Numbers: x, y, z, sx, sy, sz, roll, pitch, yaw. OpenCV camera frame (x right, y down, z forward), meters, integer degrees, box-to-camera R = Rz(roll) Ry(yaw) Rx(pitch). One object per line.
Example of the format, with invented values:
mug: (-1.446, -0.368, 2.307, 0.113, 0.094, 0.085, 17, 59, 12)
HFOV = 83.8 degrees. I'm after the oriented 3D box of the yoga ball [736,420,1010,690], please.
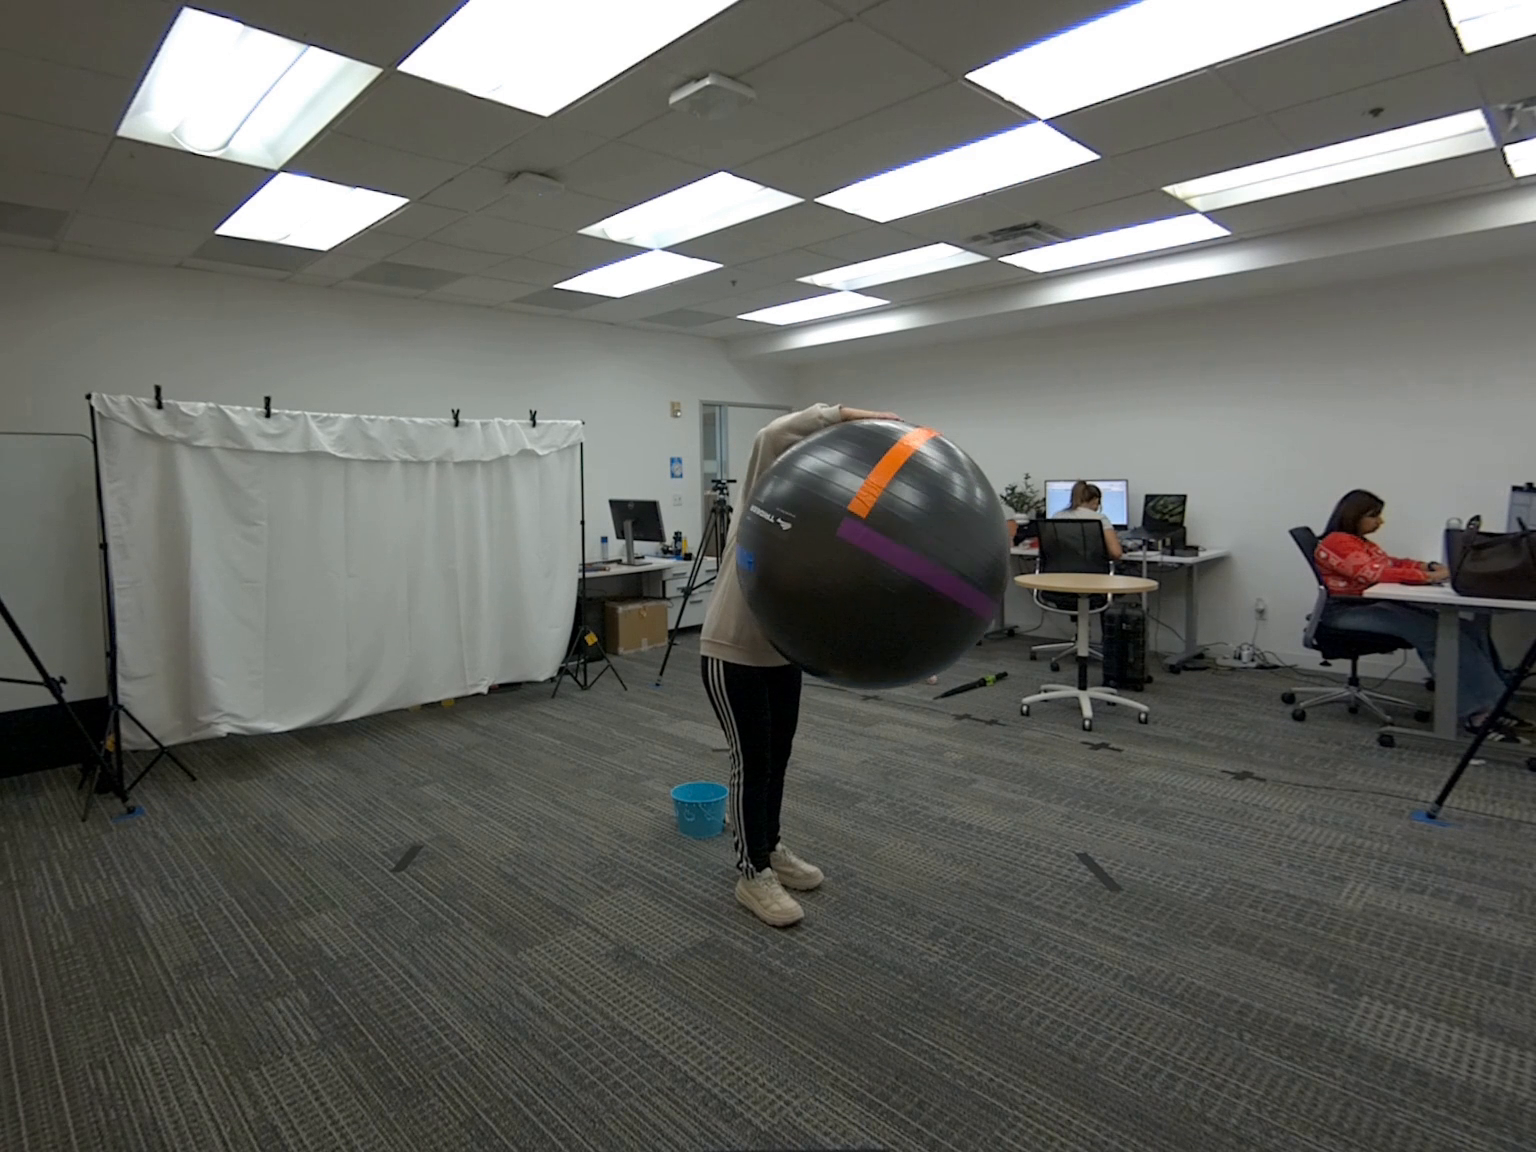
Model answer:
yoga ball: (0.283, -0.065, 2.406, 0.757, 0.755, 0.762, -1, 5, -2)
